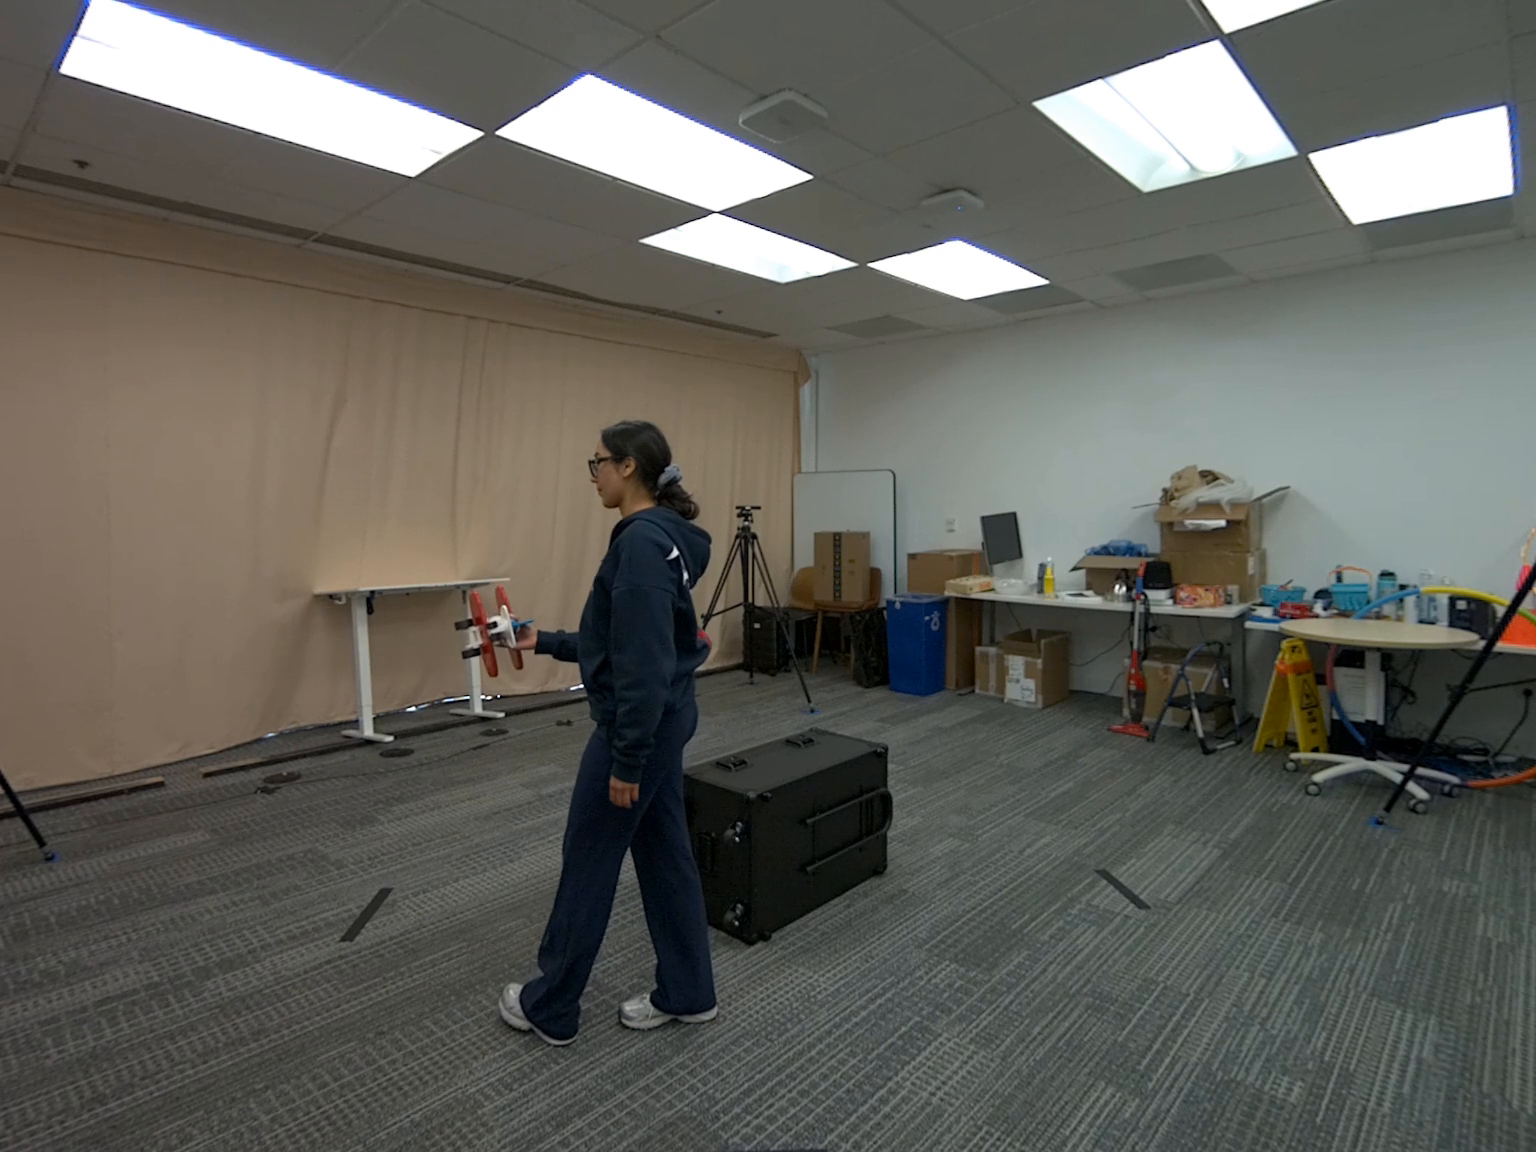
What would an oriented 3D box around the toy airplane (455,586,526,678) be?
[{"bbox_3d":[-0.769,0.188,2.420,0.269,0.248,0.152,22,25,40],"label":"toy airplane"}]
